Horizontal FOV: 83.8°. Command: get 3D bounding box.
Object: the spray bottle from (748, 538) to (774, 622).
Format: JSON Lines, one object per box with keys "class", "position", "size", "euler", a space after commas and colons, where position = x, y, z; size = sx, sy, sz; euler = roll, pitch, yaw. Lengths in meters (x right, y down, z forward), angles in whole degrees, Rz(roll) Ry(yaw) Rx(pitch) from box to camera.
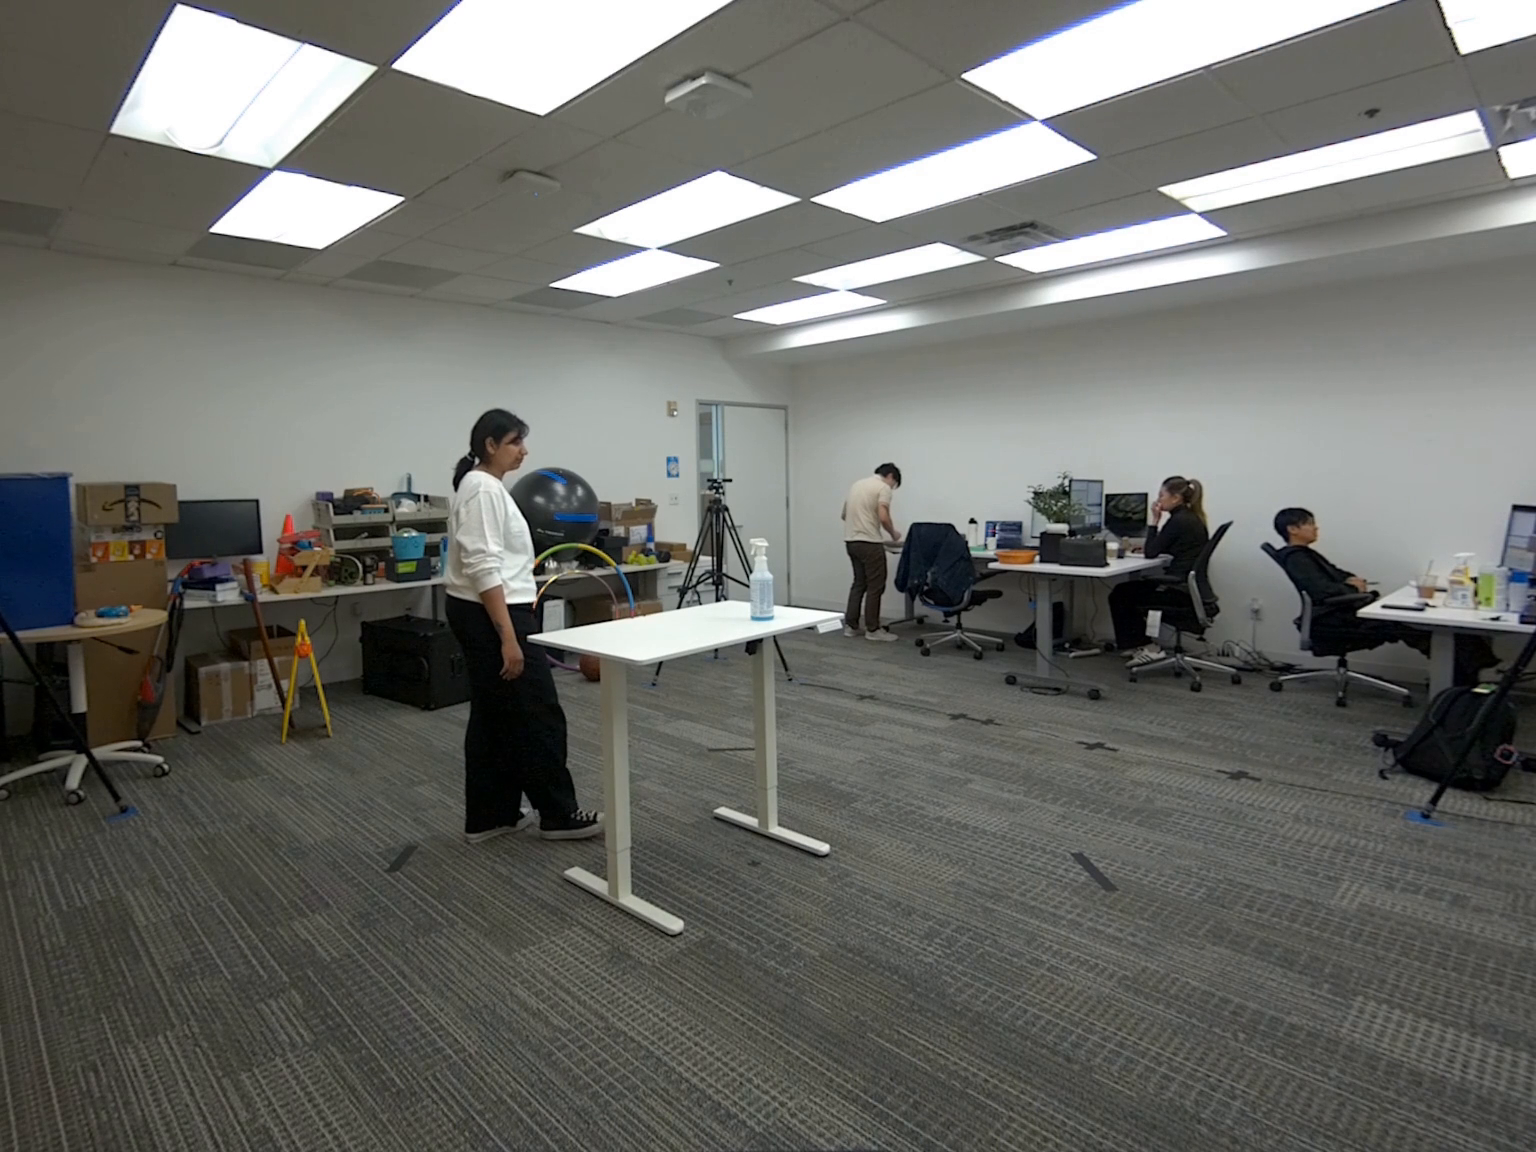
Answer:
{"class": "spray bottle", "position": [-0.029, 0.013, 3.105], "size": [0.088, 0.296, 0.089], "euler": [-6, 6, -19]}
